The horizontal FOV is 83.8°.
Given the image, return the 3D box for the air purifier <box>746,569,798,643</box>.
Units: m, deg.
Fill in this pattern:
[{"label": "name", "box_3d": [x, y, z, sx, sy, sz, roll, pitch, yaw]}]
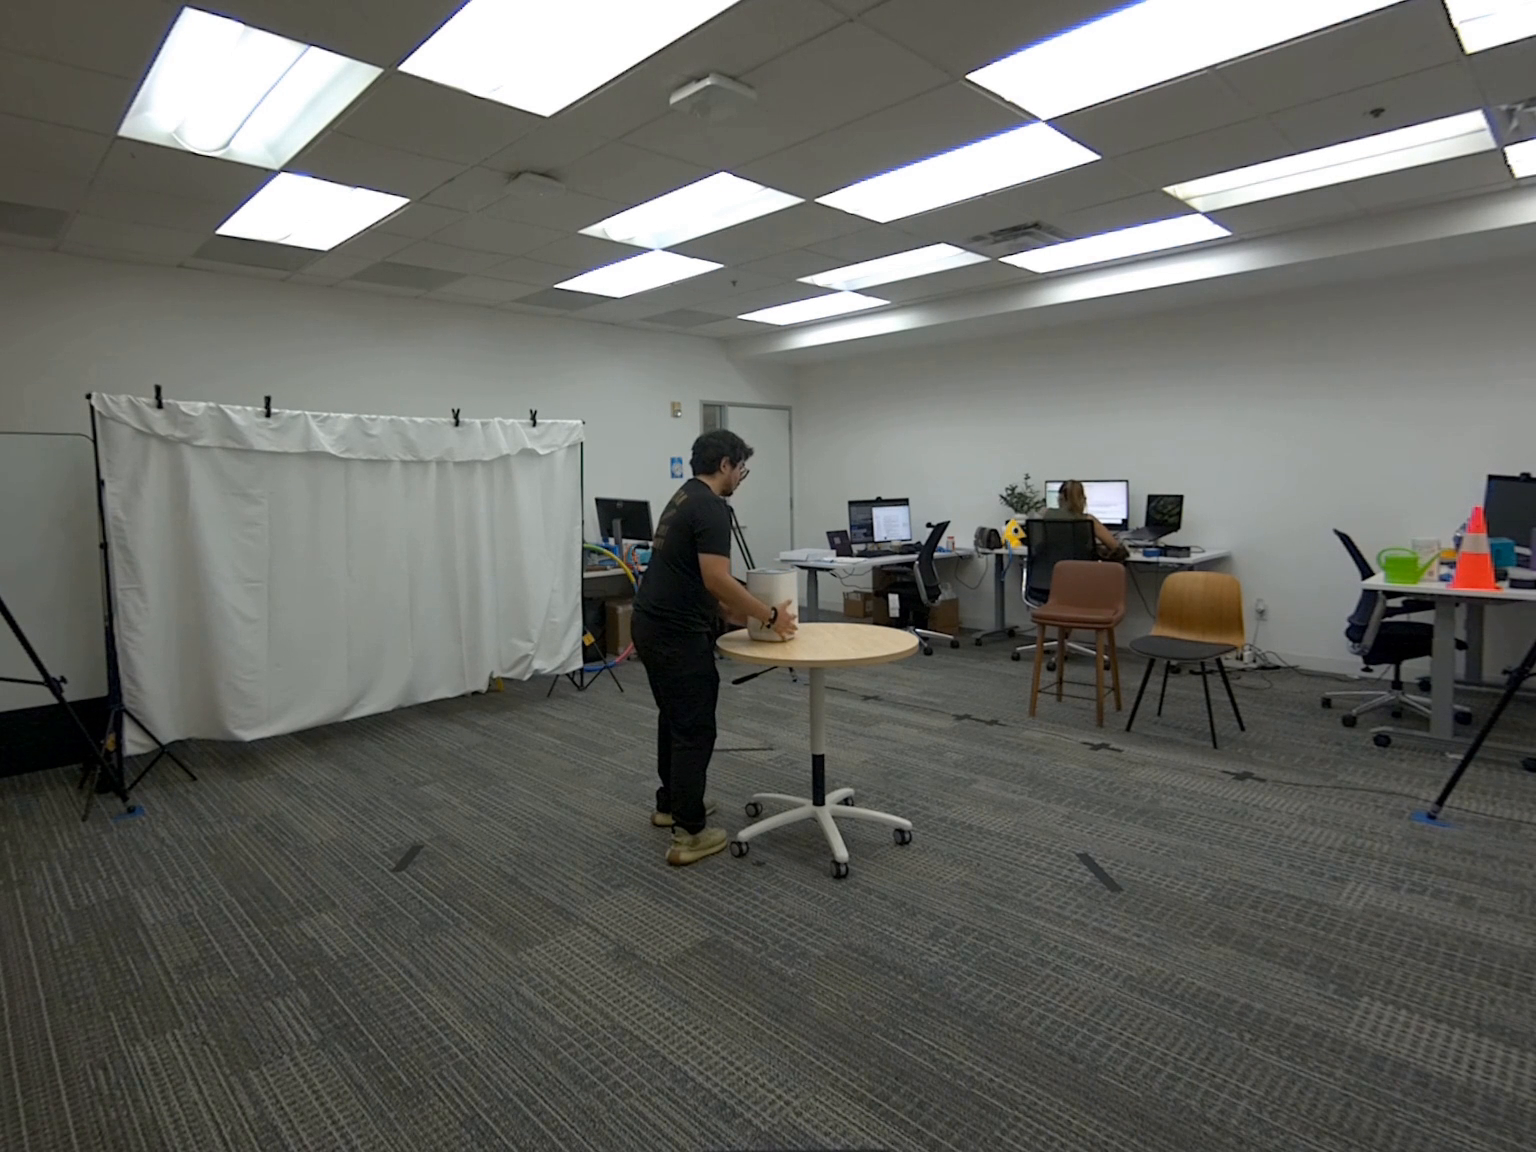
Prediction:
[{"label": "air purifier", "box_3d": [0.013, 0.109, 3.296, 0.176, 0.265, 0.167, 1, 3, 26]}]
